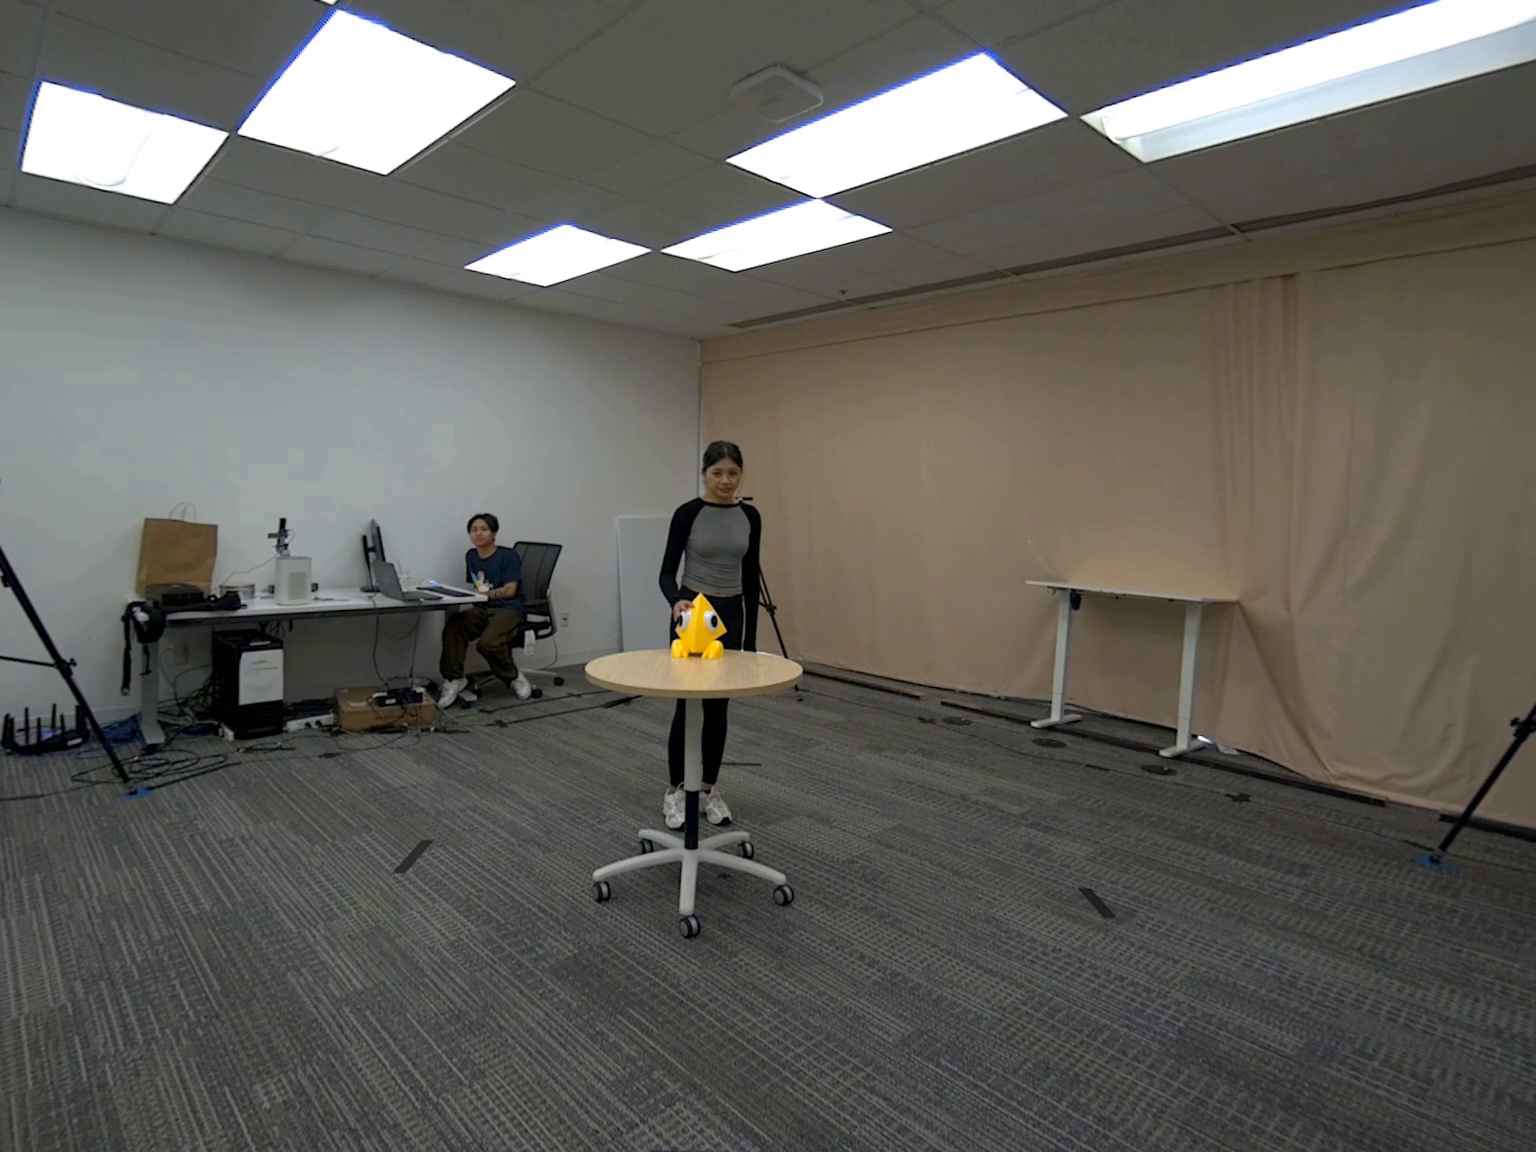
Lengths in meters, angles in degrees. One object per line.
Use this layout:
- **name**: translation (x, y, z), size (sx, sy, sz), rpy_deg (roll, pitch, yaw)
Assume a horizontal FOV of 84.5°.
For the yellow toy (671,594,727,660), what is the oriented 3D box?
- **yellow toy**: translation (-0.279, 0.187, 3.225), size (0.206, 0.230, 0.193), rpy_deg (1, 4, 5)
